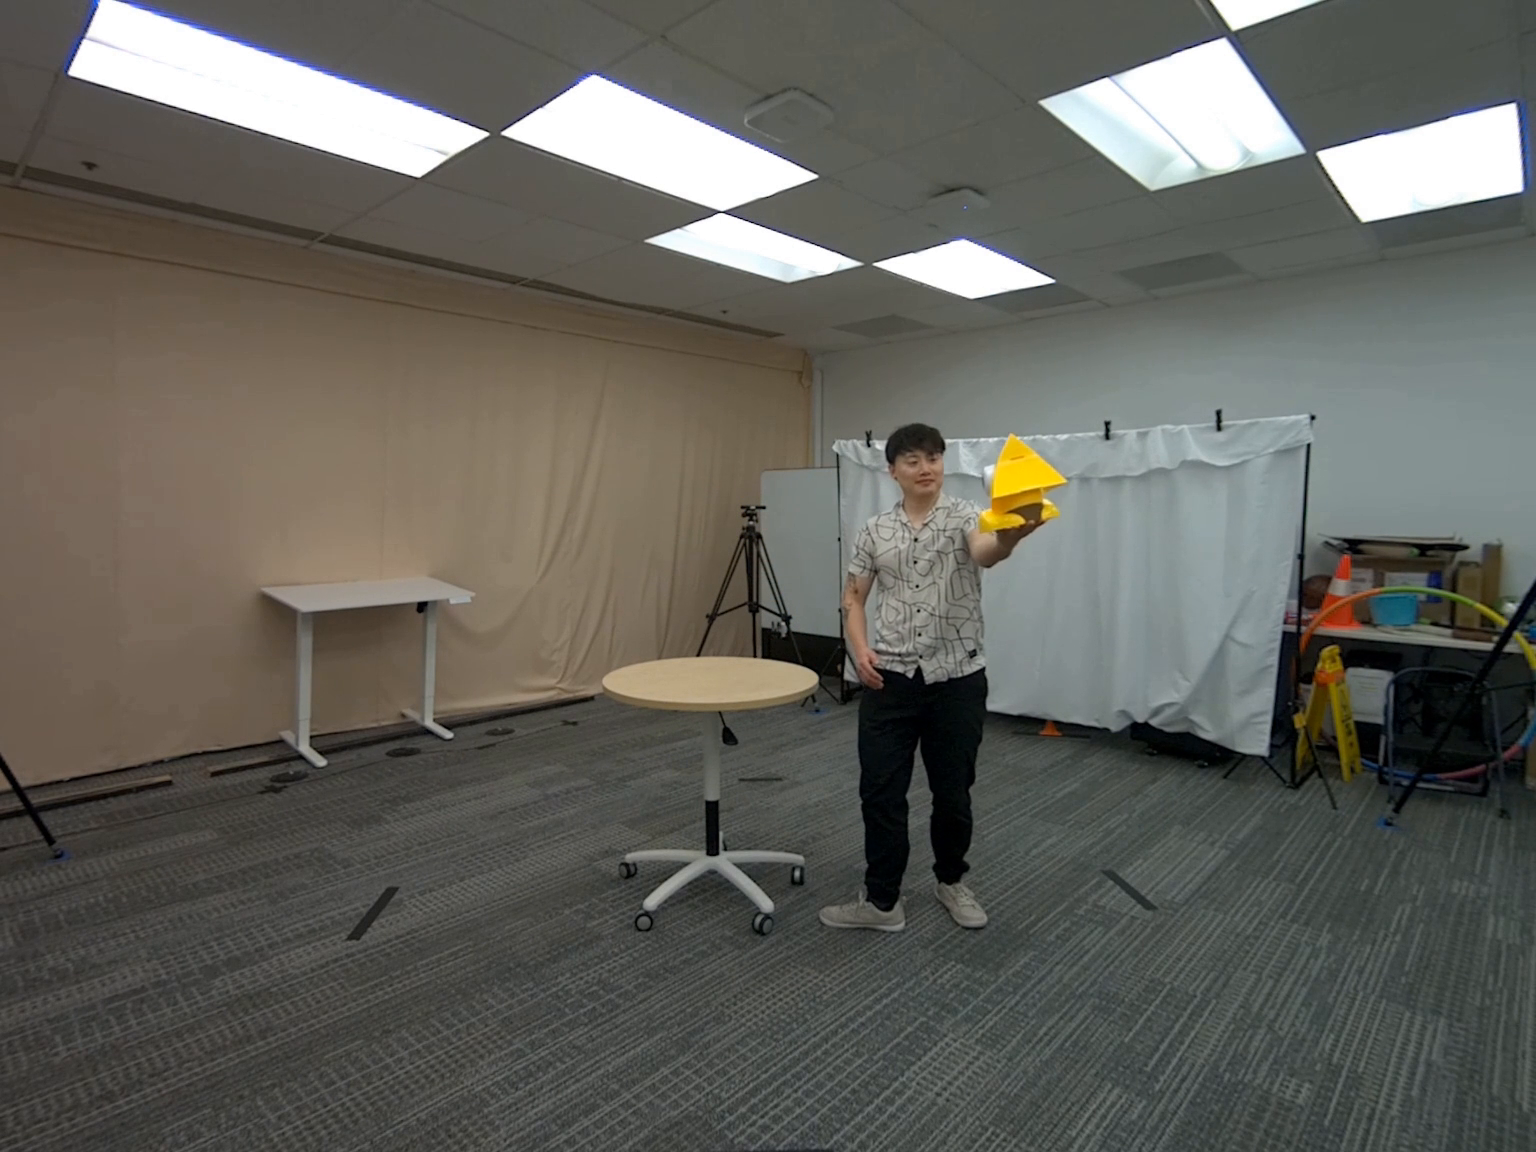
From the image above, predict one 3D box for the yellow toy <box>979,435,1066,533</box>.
[{"bbox_3d":[0.627,-0.245,2.192,0.203,0.231,0.194,-12,-3,-10],"label":"yellow toy"}]
